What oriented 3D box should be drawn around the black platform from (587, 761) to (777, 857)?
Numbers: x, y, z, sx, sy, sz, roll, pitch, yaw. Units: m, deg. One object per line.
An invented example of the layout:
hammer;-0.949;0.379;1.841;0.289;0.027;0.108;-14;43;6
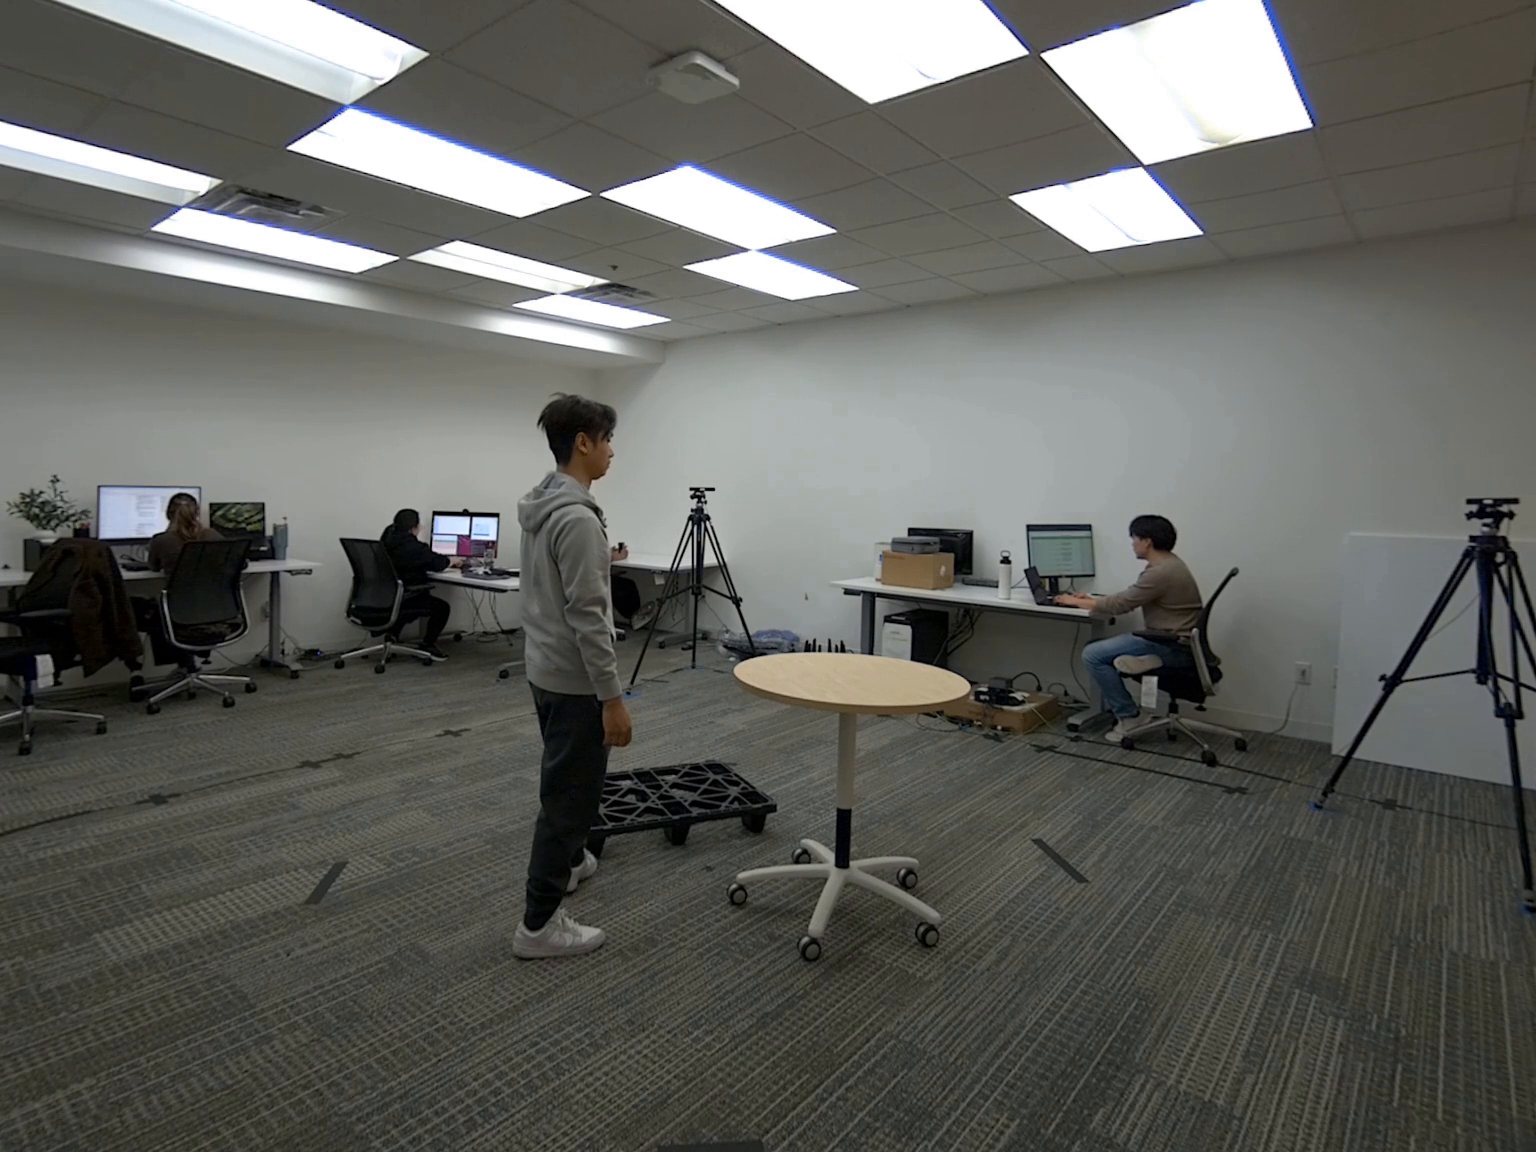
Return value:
black platform;-0.450;0.954;3.528;0.787;0.143;0.622;-2;7;-24
